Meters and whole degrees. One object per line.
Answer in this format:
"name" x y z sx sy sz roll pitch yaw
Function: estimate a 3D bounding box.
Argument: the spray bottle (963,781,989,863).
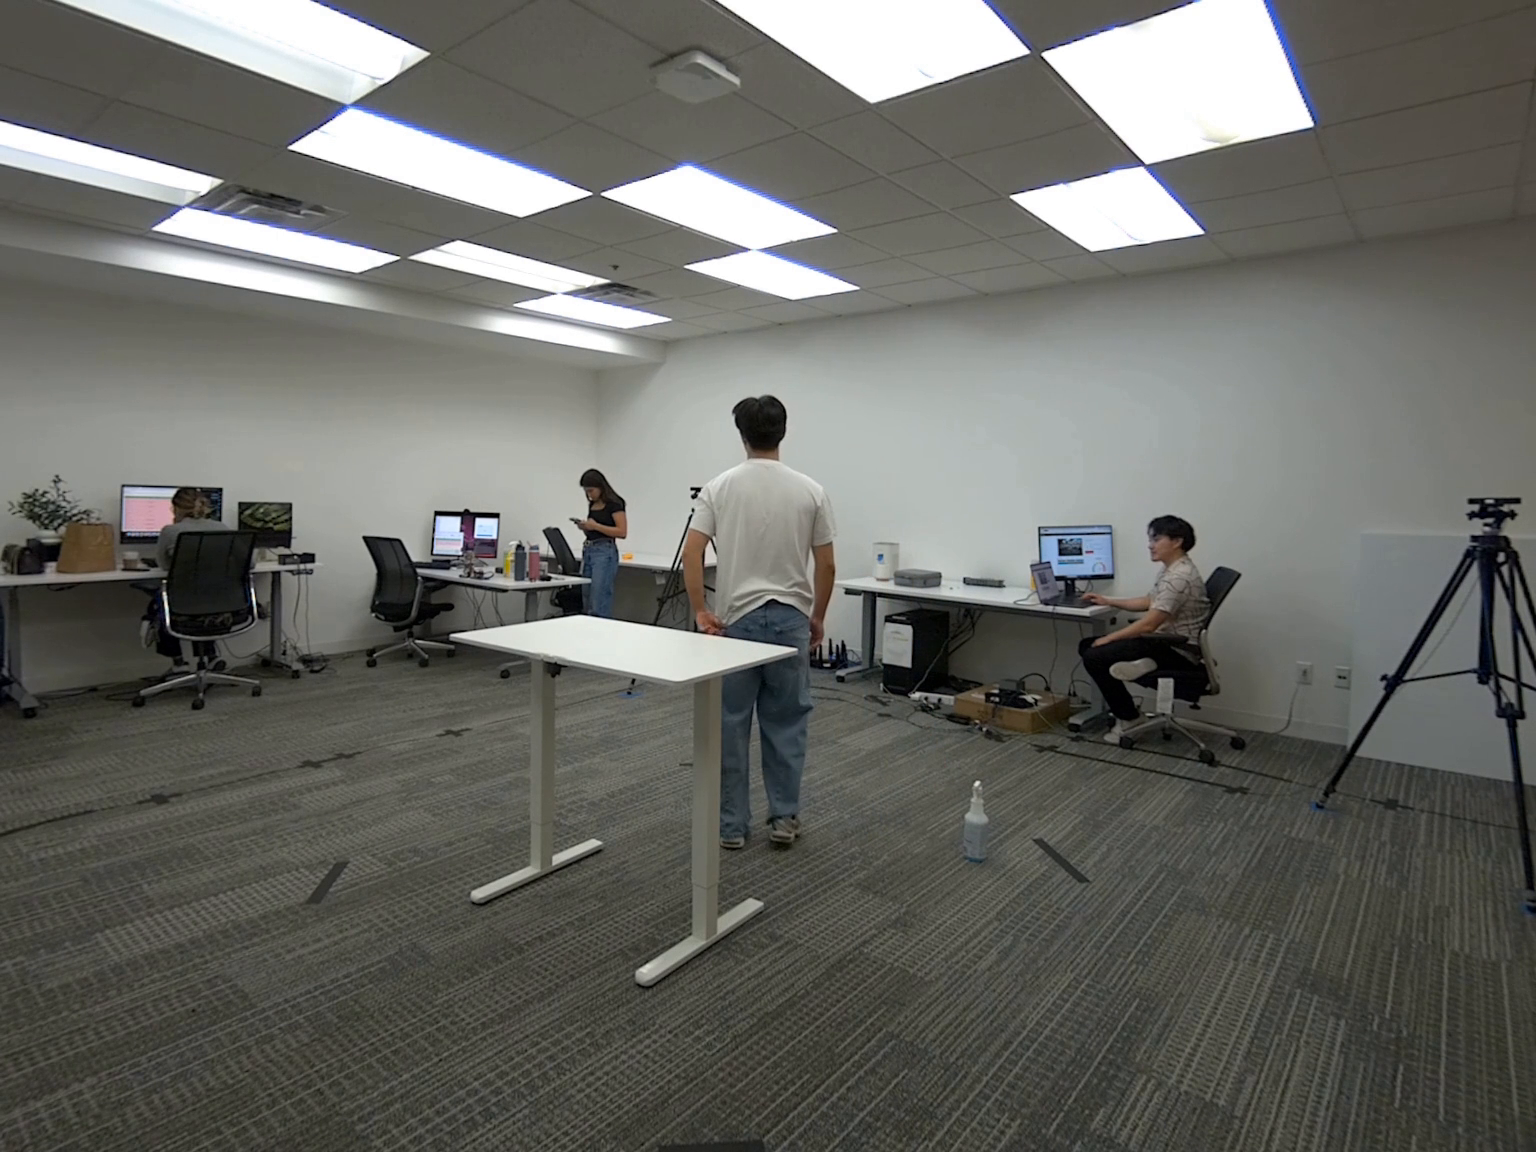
"spray bottle" 0.799 0.935 3.252 0.087 0.296 0.090 -3 6 -42
